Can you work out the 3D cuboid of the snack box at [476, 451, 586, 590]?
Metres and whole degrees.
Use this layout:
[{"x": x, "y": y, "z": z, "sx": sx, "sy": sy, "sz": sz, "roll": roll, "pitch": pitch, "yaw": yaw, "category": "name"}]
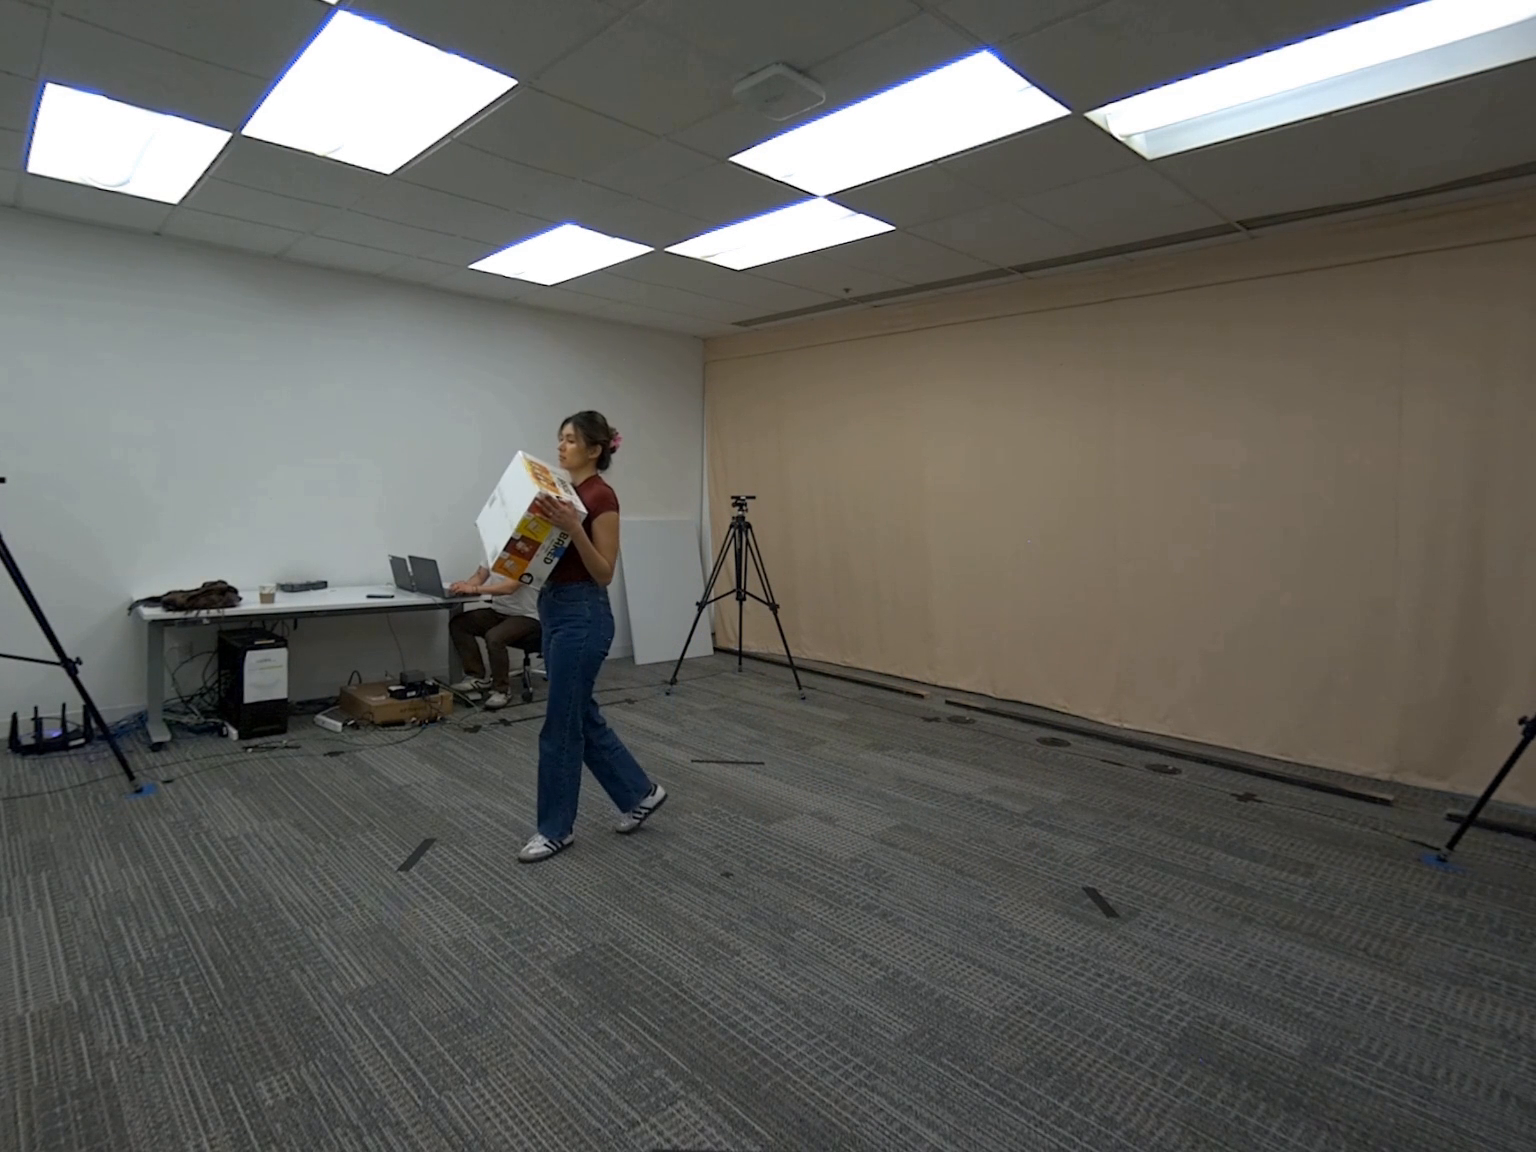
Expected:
[{"x": -0.889, "y": -0.211, "z": 3.136, "sx": 0.200, "sy": 0.340, "sz": 0.418, "roll": 27, "pitch": 13, "yaw": -36, "category": "snack box"}]
